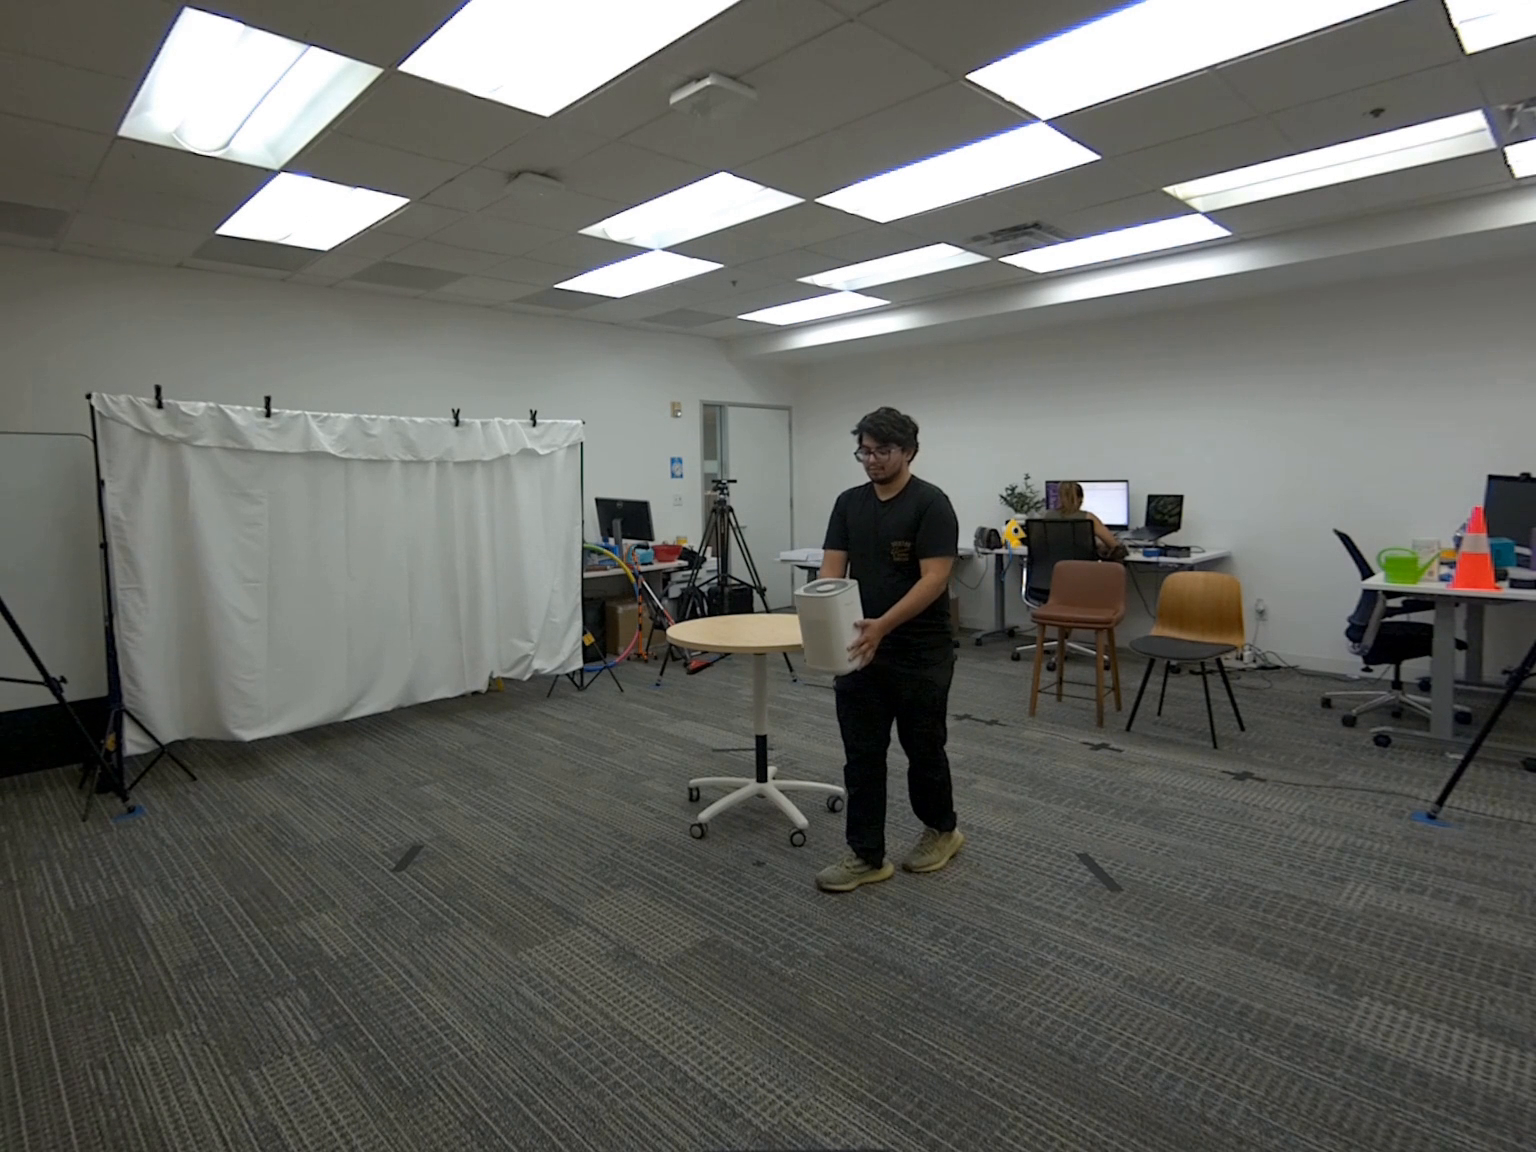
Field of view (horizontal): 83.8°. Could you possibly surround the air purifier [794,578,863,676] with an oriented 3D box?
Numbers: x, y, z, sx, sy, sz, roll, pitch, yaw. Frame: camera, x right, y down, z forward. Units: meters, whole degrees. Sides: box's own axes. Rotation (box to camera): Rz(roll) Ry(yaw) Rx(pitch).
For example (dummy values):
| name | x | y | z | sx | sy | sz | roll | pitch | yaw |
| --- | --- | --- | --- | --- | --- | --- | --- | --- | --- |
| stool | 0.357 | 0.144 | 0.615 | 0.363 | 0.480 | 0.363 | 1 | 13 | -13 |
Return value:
| name | x | y | z | sx | sy | sz | roll | pitch | yaw |
| --- | --- | --- | --- | --- | --- | --- | --- | --- | --- |
| air purifier | 0.212 | 0.159 | 2.659 | 0.177 | 0.262 | 0.168 | 1 | 16 | 44 |
